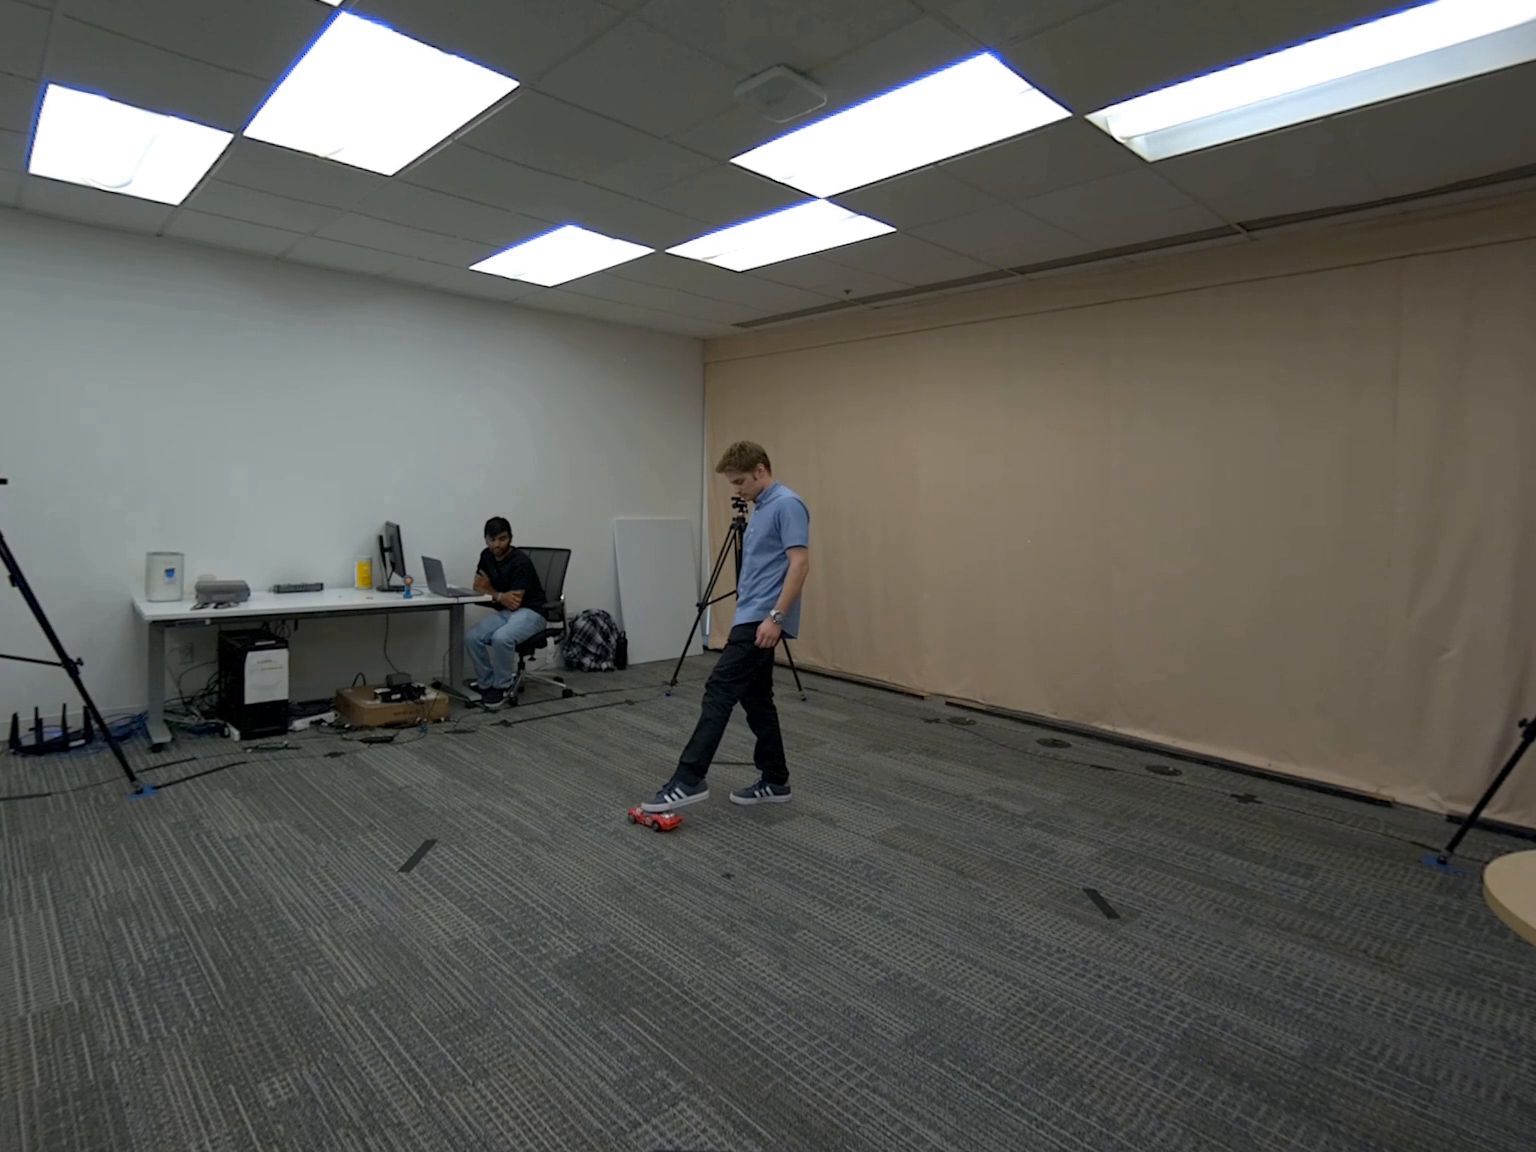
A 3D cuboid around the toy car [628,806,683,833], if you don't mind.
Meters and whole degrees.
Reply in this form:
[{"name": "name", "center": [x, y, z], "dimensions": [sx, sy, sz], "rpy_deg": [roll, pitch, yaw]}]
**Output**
[{"name": "toy car", "center": [-0.481, 1.029, 3.568], "dimensions": [0.259, 0.083, 0.127], "rpy_deg": [-8, -4, 37]}]
